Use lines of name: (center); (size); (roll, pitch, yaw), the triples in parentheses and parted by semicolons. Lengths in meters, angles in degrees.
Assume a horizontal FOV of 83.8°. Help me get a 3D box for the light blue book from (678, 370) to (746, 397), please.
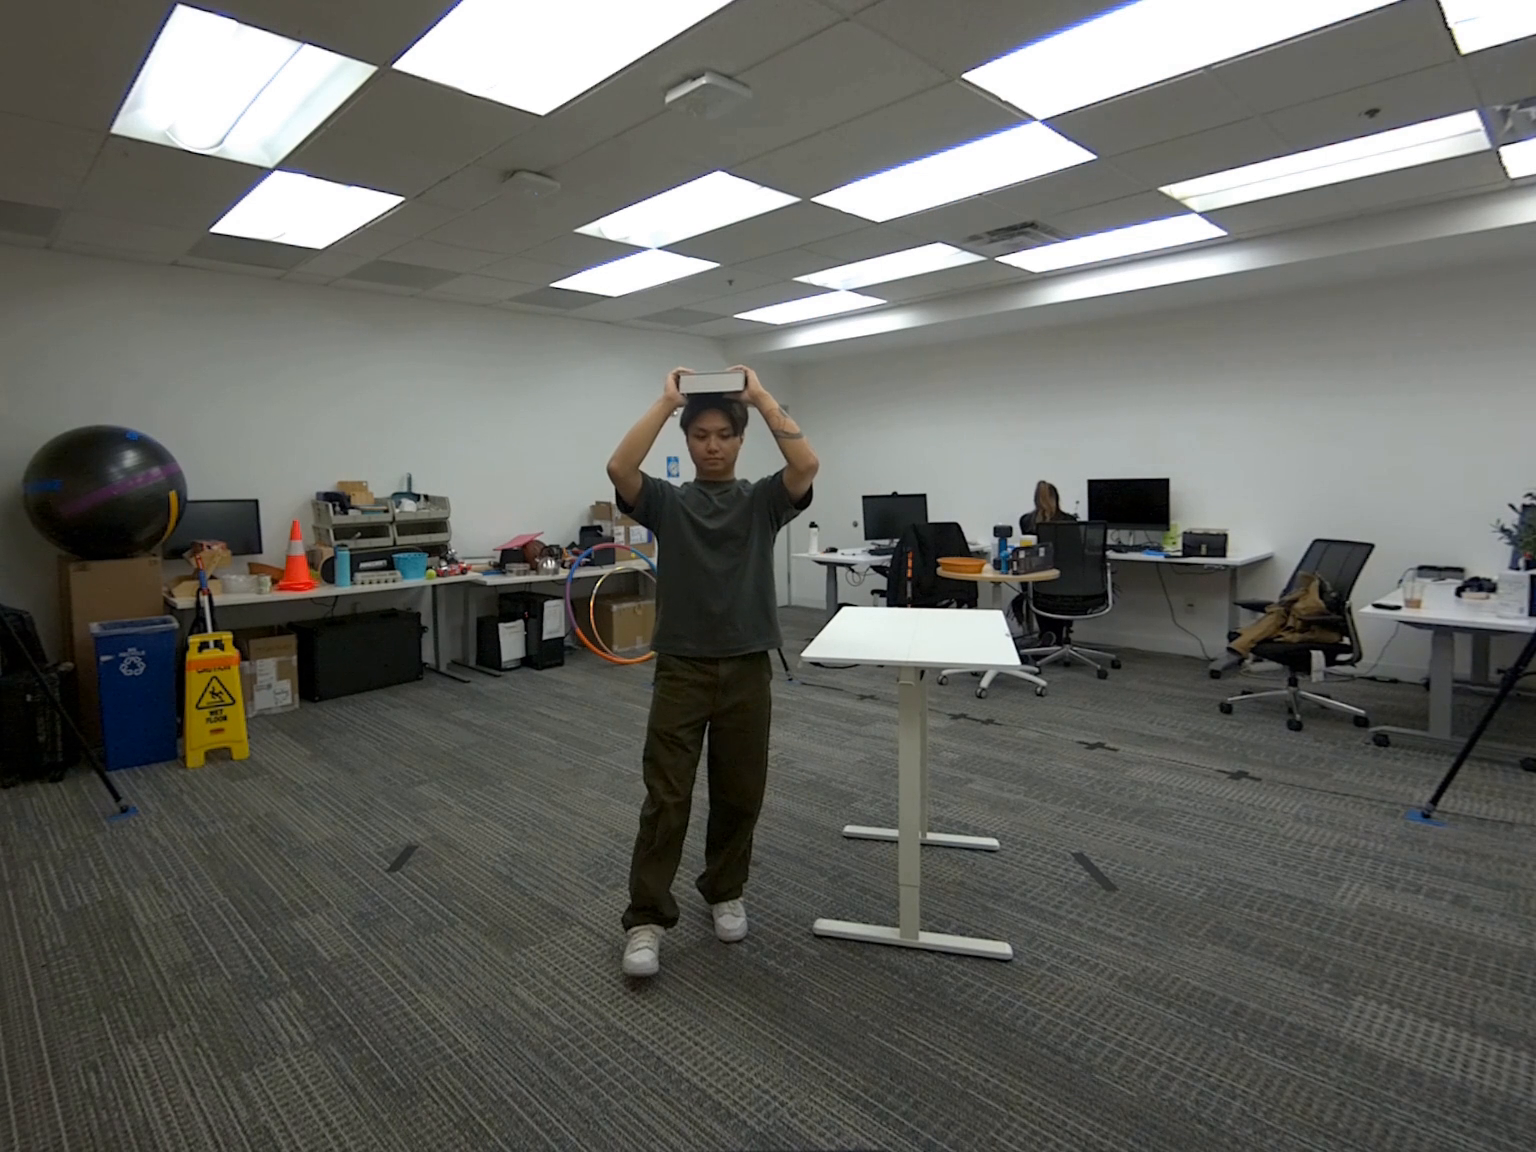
light blue book: (-0.152, -0.569, 2.541); (0.192, 0.058, 0.261); (-1, 8, 5)
